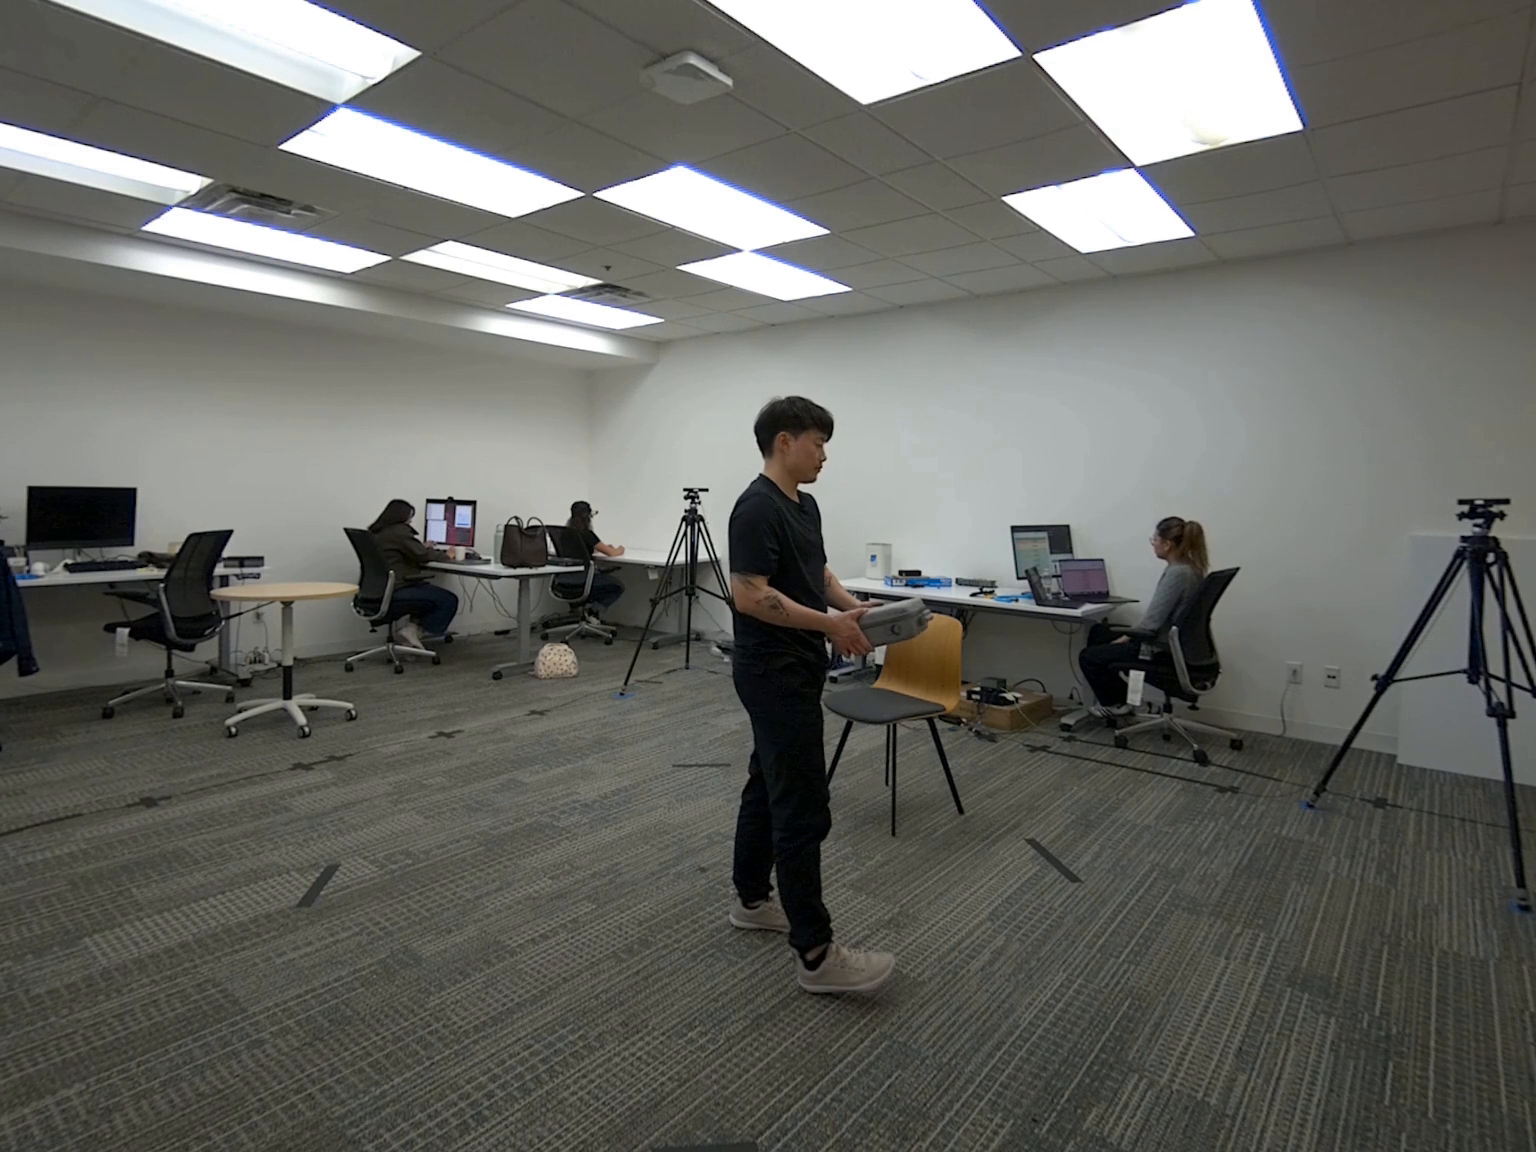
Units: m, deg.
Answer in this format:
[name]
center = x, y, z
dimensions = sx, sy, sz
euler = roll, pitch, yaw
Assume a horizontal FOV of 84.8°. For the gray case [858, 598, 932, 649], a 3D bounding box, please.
[gray case]
center = 0.321, 0.144, 2.498
dimensions = 0.264, 0.105, 0.252
euler = -15, -3, 17
